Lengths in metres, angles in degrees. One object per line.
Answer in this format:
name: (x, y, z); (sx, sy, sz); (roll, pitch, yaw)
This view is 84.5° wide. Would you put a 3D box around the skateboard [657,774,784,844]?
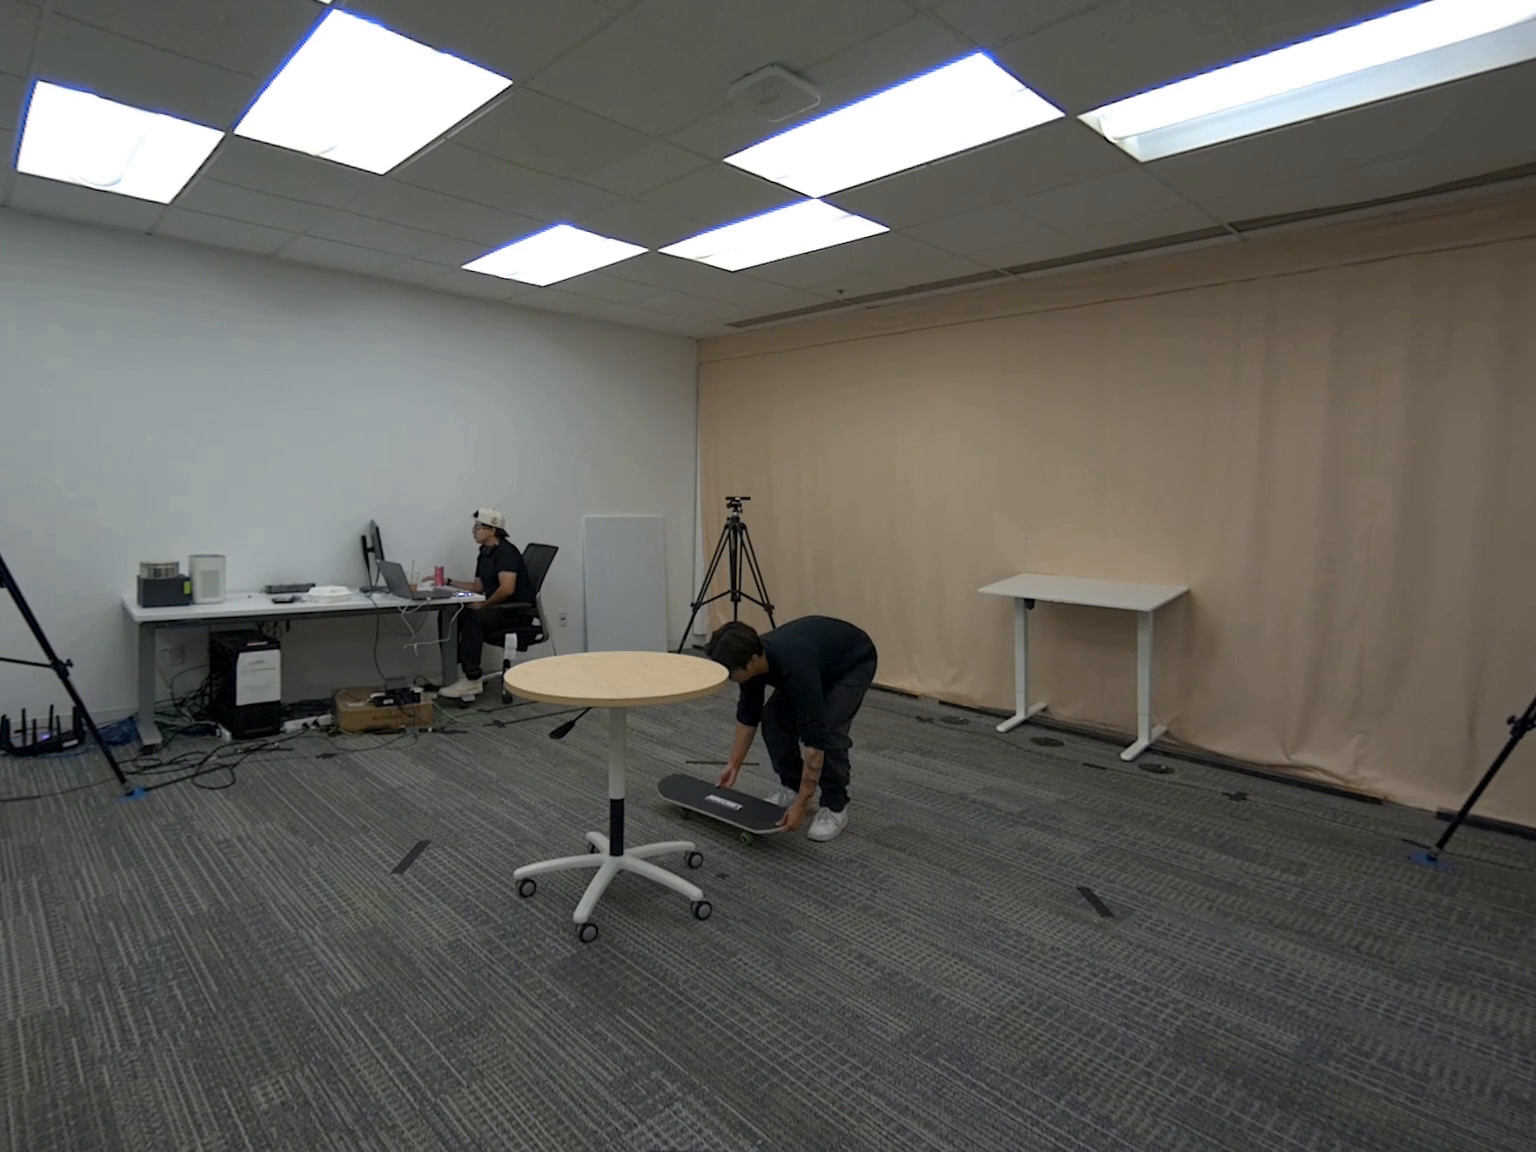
skateboard: (-0.192, 0.984, 3.555); (0.190, 0.109, 0.805); (-20, 16, -42)
